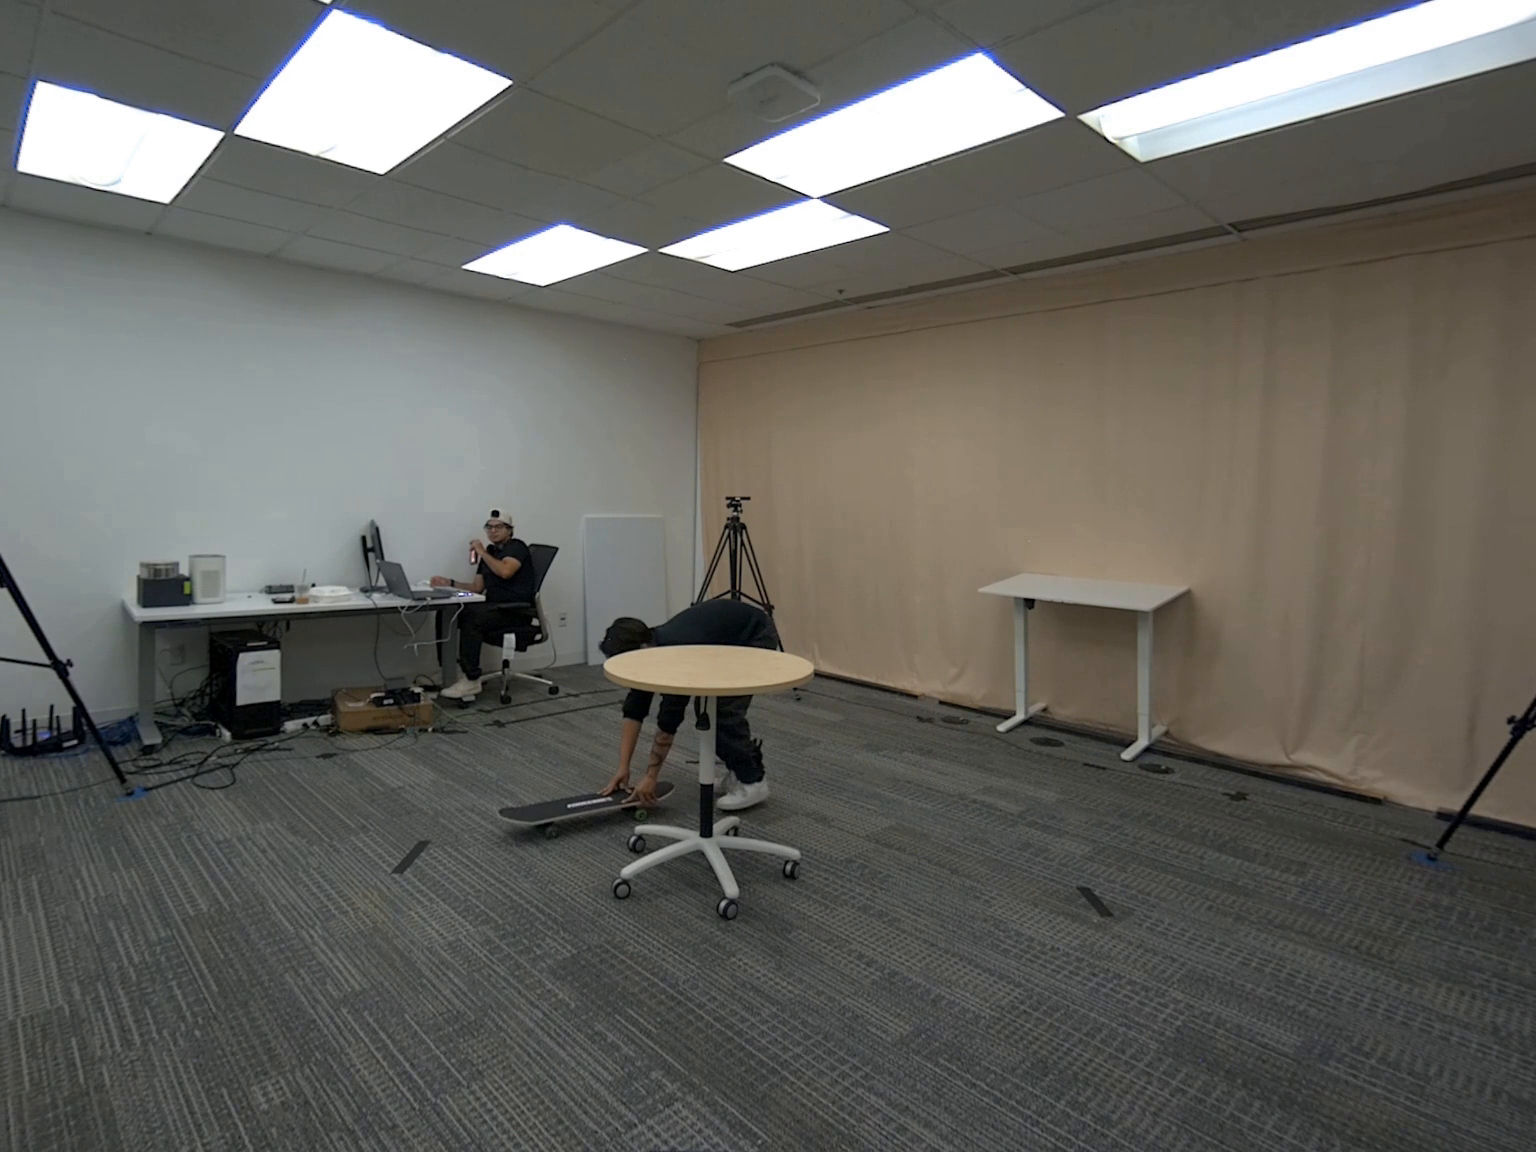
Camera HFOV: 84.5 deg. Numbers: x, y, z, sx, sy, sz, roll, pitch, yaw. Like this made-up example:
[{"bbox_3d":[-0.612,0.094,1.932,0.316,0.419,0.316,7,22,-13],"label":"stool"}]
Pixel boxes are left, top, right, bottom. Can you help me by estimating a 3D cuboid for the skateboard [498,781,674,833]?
[{"bbox_3d":[-0.763,0.995,3.579,0.769,0.110,0.198,-1,5,-32],"label":"skateboard"}]
